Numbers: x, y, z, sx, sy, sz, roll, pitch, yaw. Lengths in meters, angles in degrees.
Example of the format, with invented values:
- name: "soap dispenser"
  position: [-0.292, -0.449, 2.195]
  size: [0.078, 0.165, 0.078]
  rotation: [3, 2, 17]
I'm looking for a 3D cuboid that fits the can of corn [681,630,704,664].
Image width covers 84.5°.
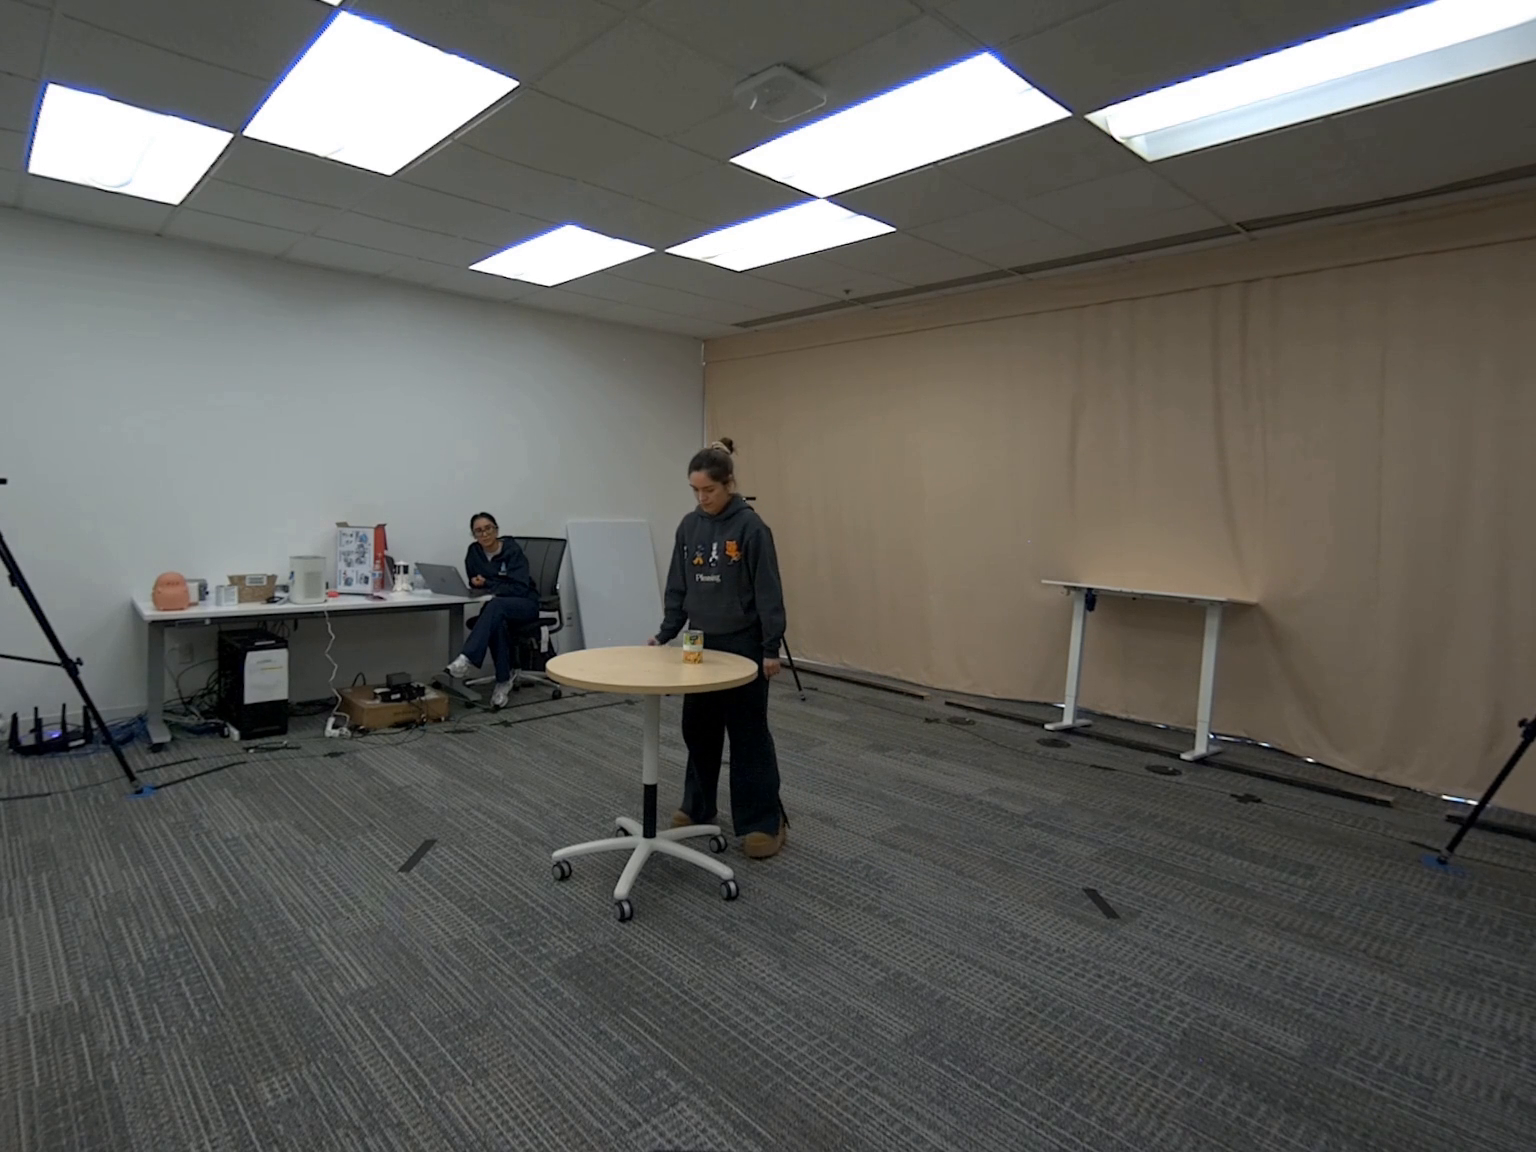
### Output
- name: "can of corn"
  position: [-0.296, 0.268, 3.130]
  size: [0.074, 0.111, 0.074]
  rotation: [3, 0, -1]
